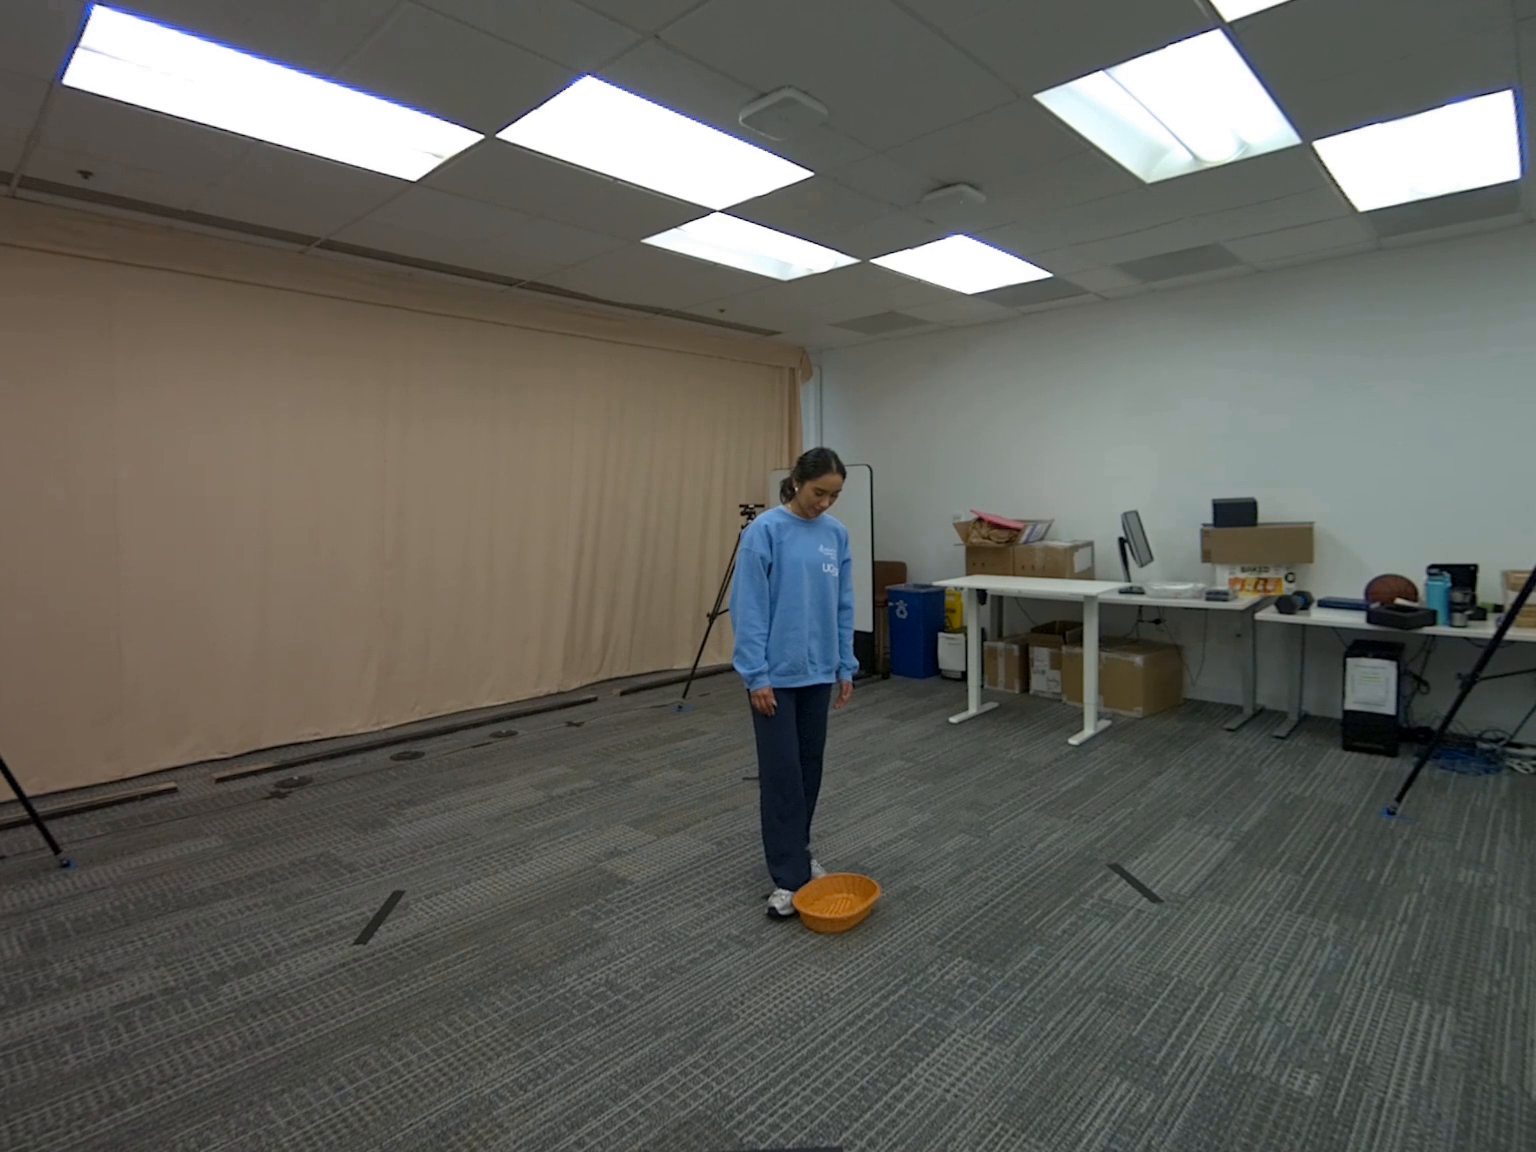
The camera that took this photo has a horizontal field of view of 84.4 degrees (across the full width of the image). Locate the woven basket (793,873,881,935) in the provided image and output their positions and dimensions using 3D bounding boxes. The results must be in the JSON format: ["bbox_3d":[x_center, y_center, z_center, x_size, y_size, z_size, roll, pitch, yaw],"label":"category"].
[{"bbox_3d":[0.234,1.102,2.851,0.261,0.073,0.340,4,7,39],"label":"woven basket"}]
